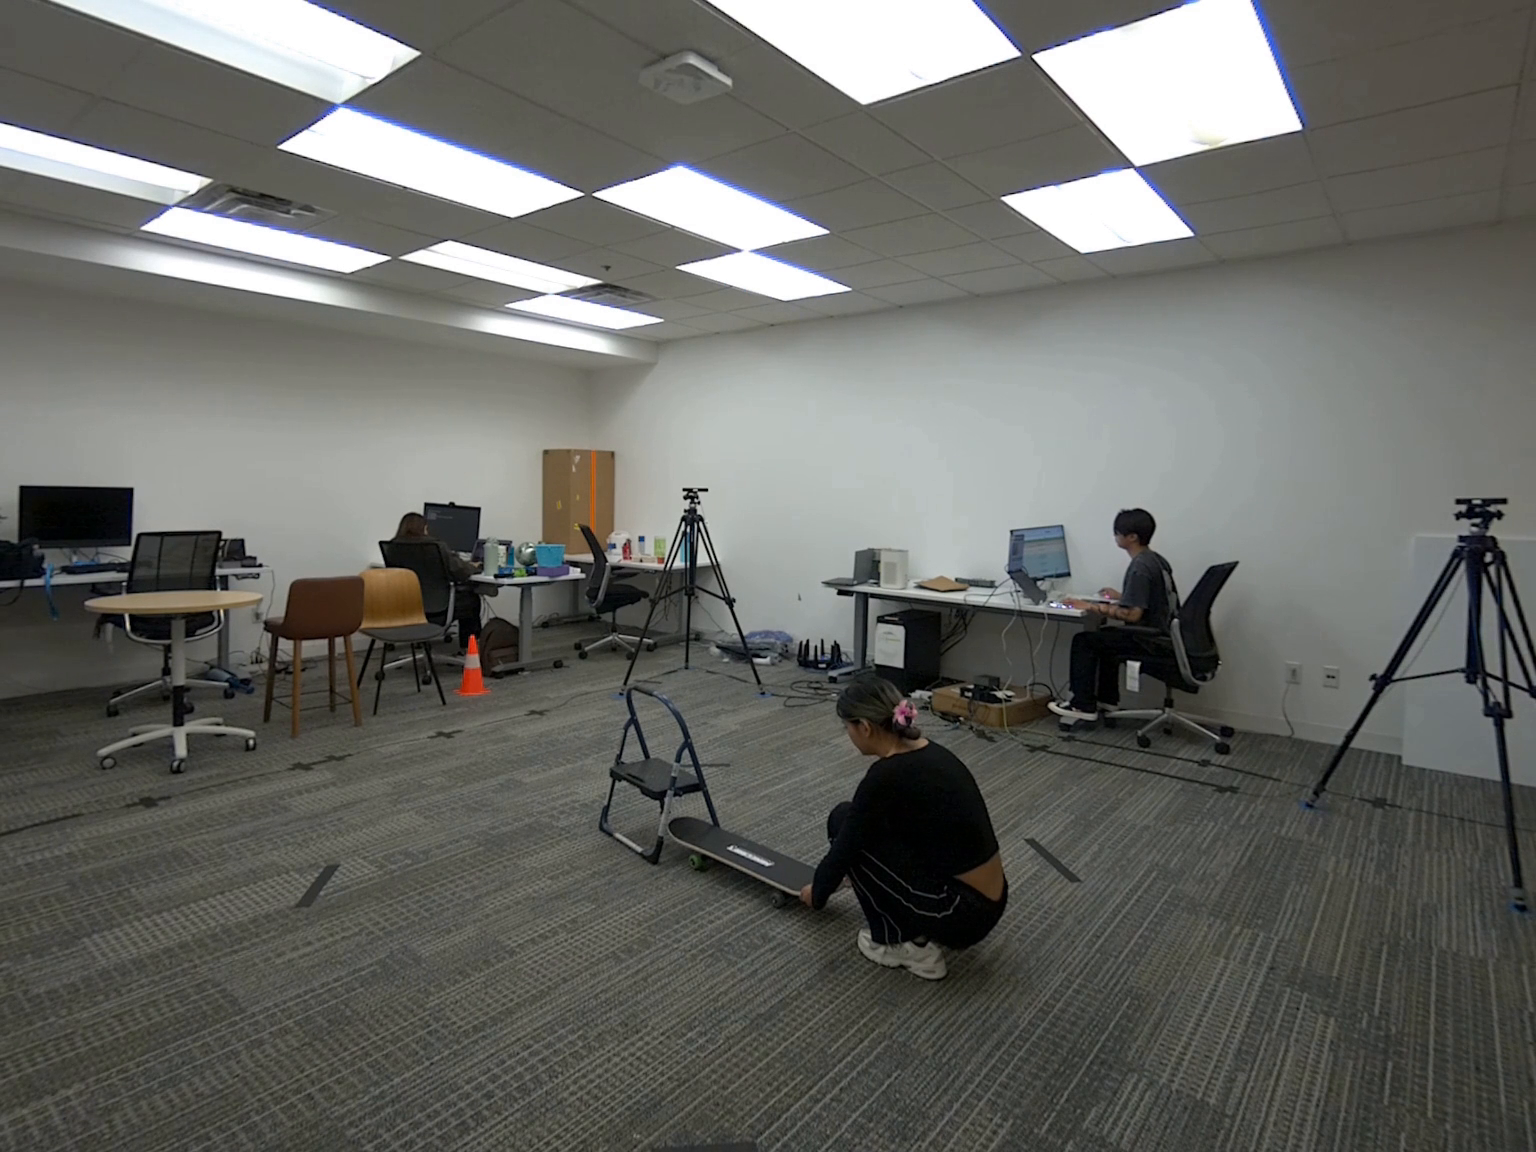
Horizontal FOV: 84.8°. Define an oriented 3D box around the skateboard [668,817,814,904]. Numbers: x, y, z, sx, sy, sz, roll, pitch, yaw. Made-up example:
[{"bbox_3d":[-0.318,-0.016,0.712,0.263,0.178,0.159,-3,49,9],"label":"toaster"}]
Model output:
[{"bbox_3d":[-0.080,1.021,3.025,0.813,0.110,0.188,7,8,43],"label":"skateboard"}]
